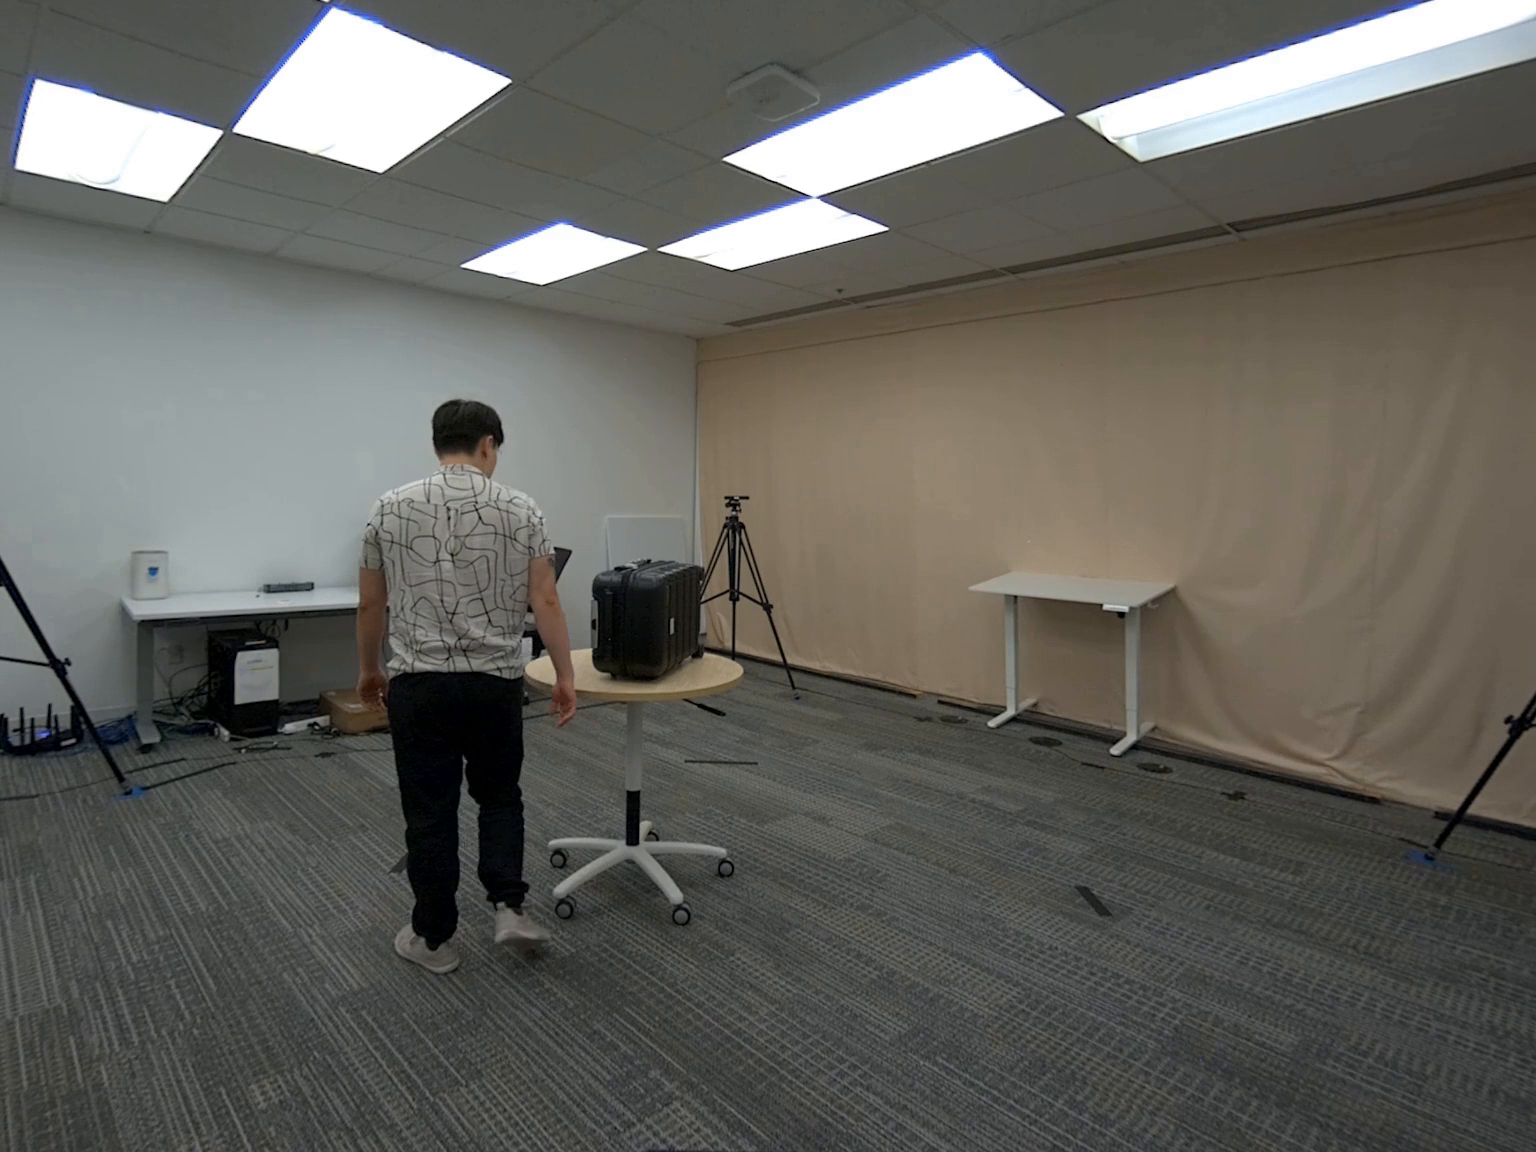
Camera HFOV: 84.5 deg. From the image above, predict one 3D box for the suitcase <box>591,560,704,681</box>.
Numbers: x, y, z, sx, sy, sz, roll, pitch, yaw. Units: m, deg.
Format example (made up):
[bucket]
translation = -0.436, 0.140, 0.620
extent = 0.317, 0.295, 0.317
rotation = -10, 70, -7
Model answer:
[suitcase]
translation = -0.422, 0.137, 2.958
extent = 0.251, 0.374, 0.545
rotation = 3, 5, 12
